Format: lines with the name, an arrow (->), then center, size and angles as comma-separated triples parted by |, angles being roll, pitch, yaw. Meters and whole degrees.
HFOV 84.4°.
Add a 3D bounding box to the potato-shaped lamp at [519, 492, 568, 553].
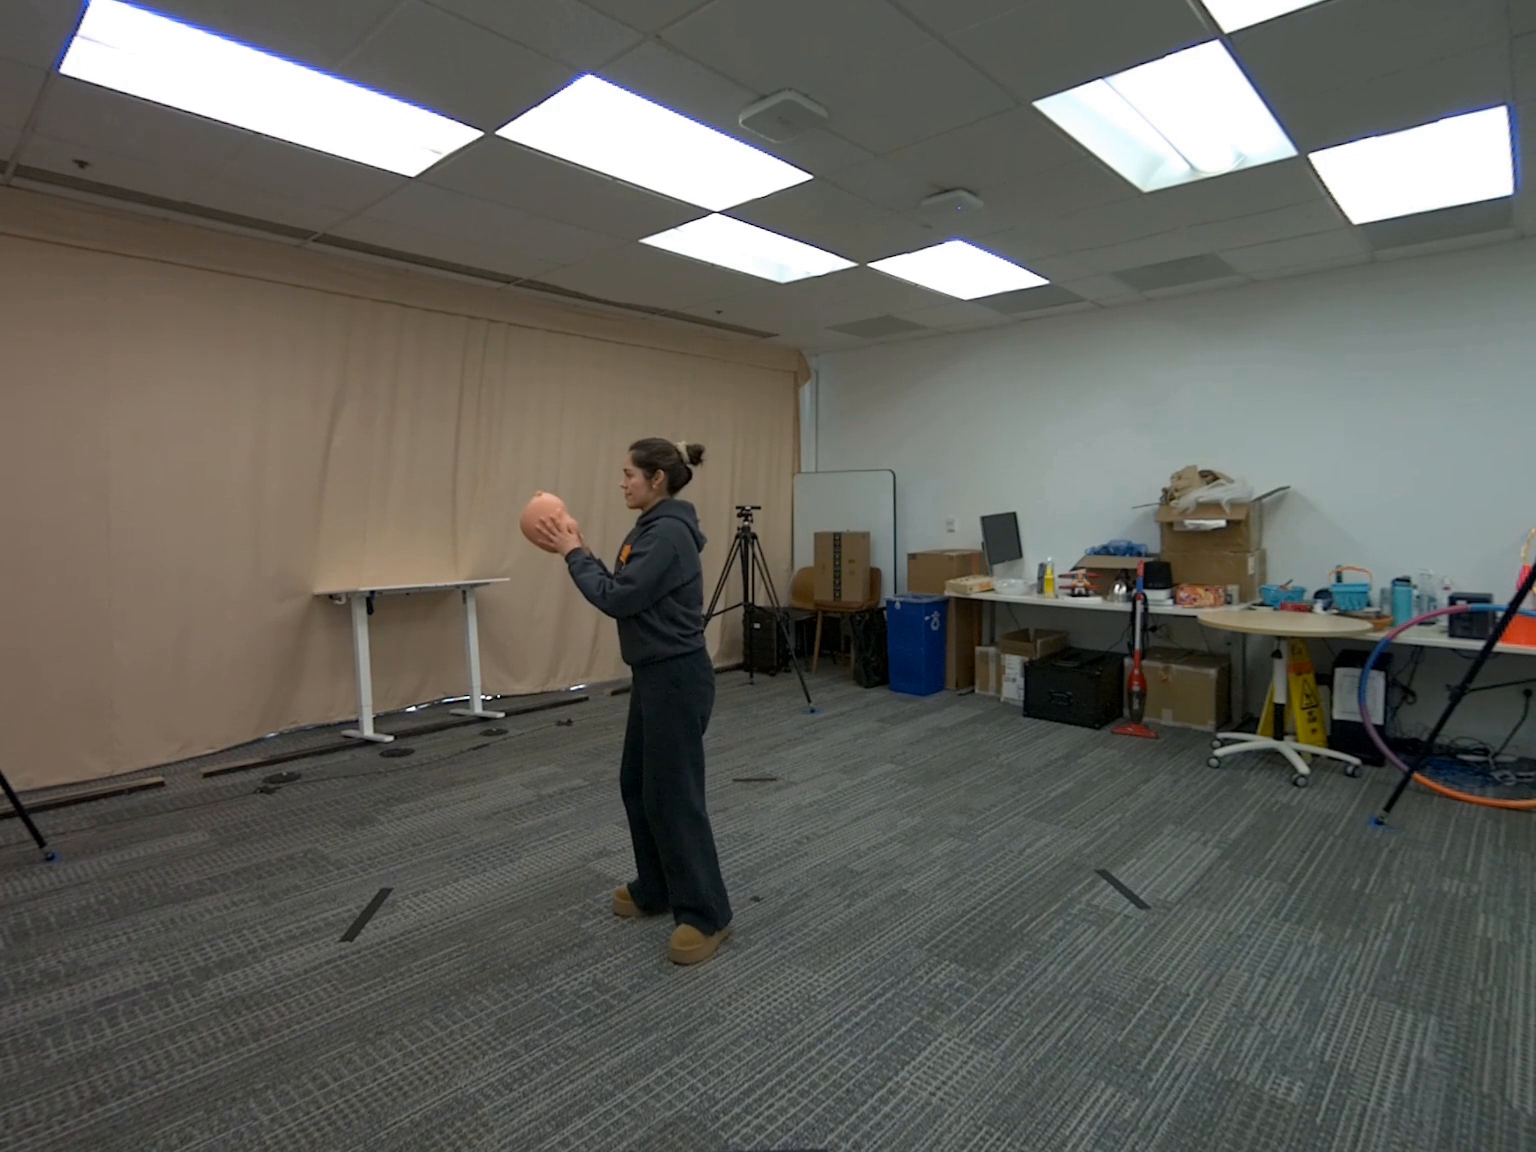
potato-shaped lamp -> -0.710, -0.150, 2.805 | 0.198, 0.171, 0.164 | 33, -3, 1
